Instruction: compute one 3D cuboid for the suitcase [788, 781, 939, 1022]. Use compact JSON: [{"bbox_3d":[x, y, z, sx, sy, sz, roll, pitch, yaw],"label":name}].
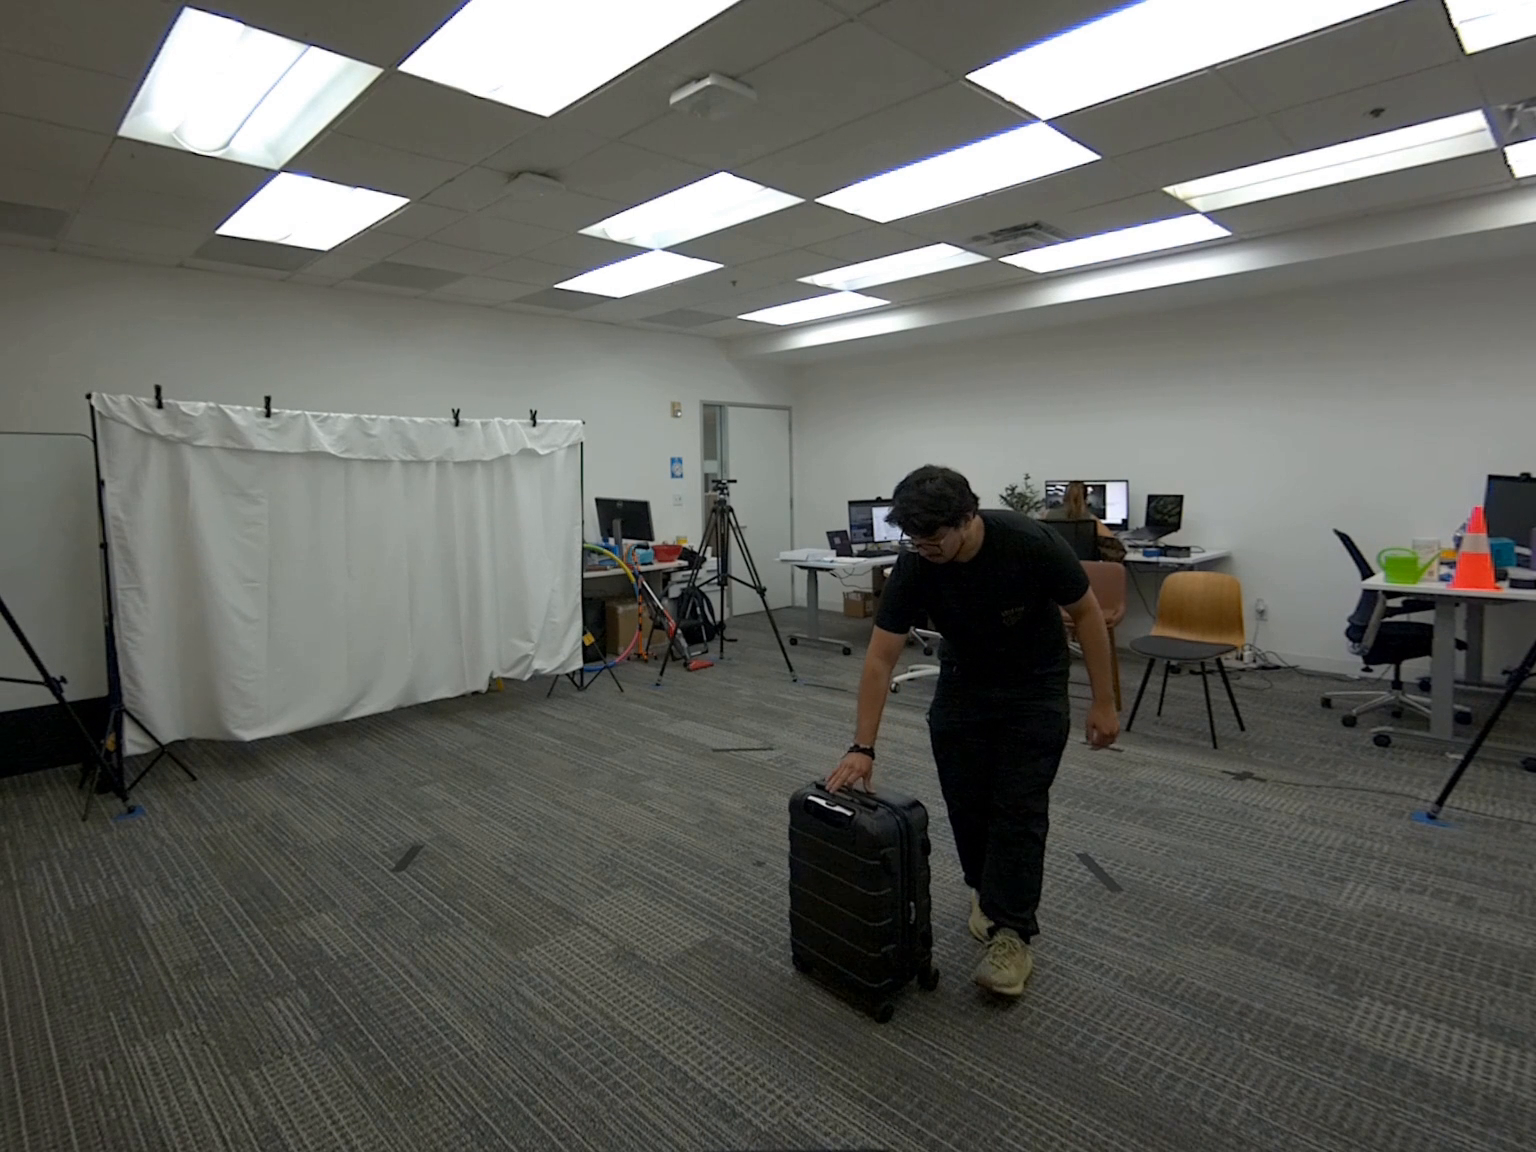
[{"bbox_3d":[0.258,0.850,2.357,0.242,0.547,0.387,-6,7,-41],"label":"suitcase"}]
